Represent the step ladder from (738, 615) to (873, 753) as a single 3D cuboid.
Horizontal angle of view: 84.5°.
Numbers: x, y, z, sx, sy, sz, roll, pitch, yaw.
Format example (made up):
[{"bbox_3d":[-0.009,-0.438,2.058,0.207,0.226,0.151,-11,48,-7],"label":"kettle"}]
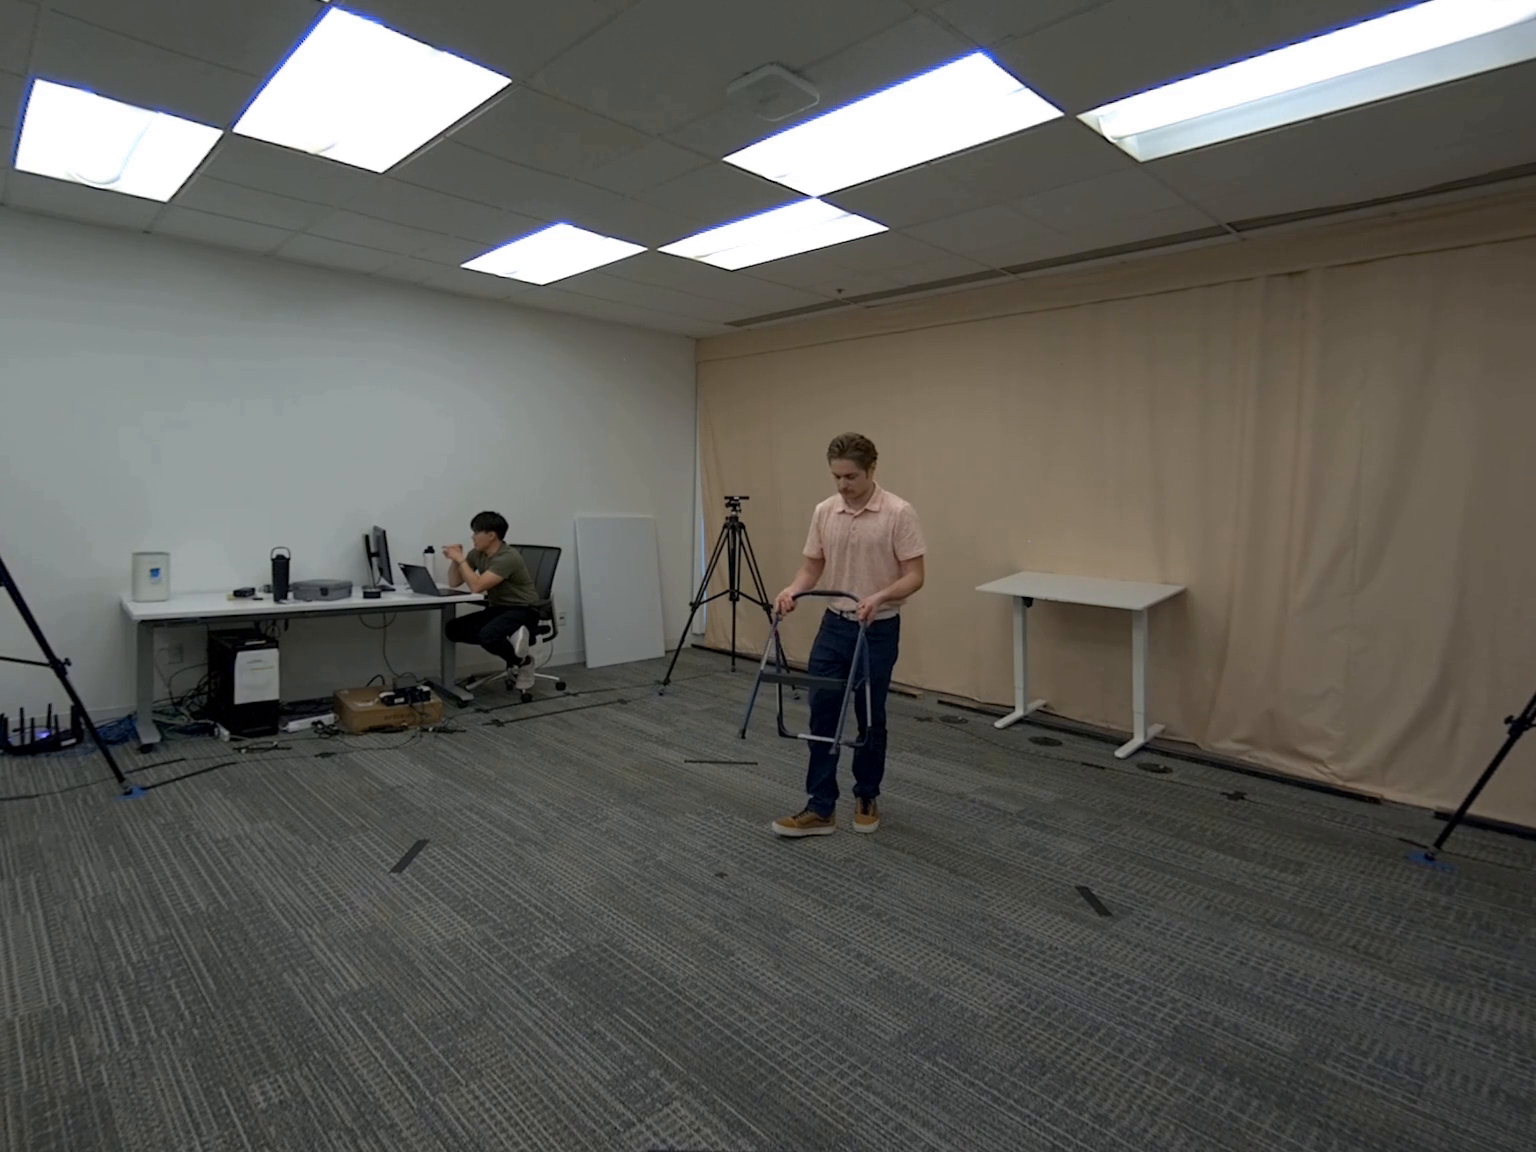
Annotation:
[{"bbox_3d":[0.165,0.353,3.283,0.440,0.609,0.340,1,-9,32],"label":"step ladder"}]
